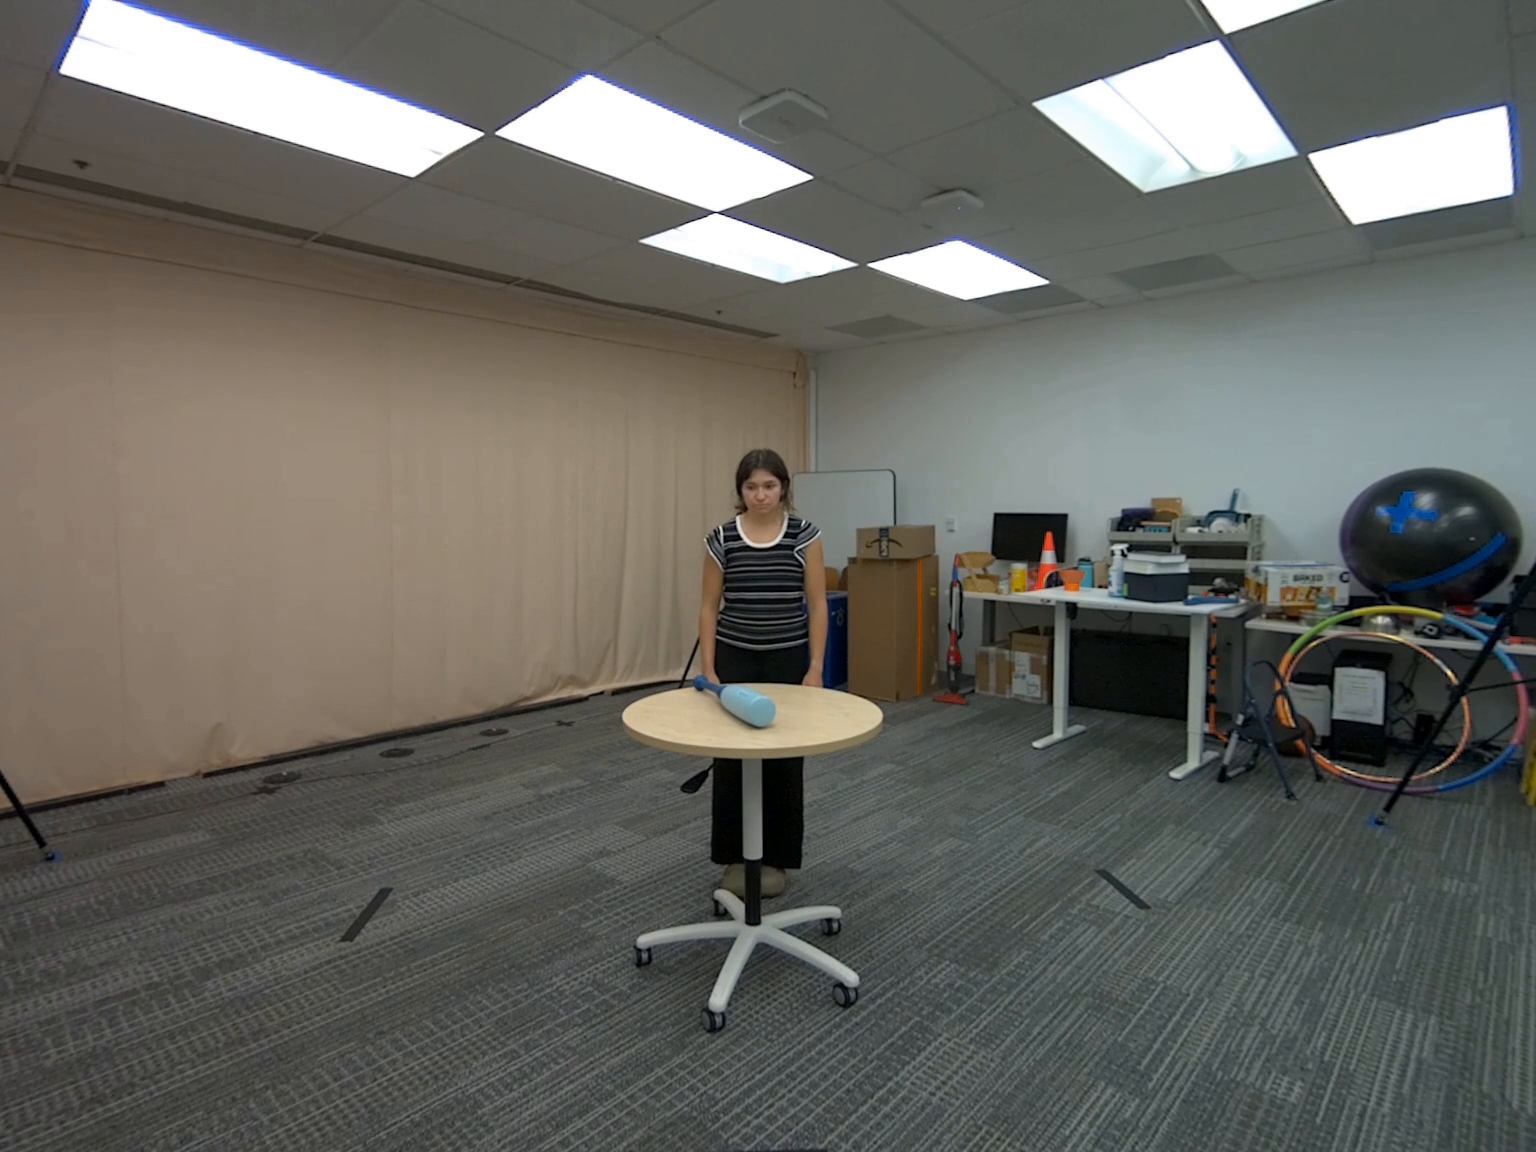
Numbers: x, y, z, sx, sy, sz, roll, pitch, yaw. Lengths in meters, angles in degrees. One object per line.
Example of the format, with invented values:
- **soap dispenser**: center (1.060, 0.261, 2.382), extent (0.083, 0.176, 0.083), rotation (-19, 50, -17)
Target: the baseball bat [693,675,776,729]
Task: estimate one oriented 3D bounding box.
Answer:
- **baseball bat**: center (-0.120, 0.363, 2.536), extent (0.087, 0.089, 0.555), rotation (-2, 3, -23)
